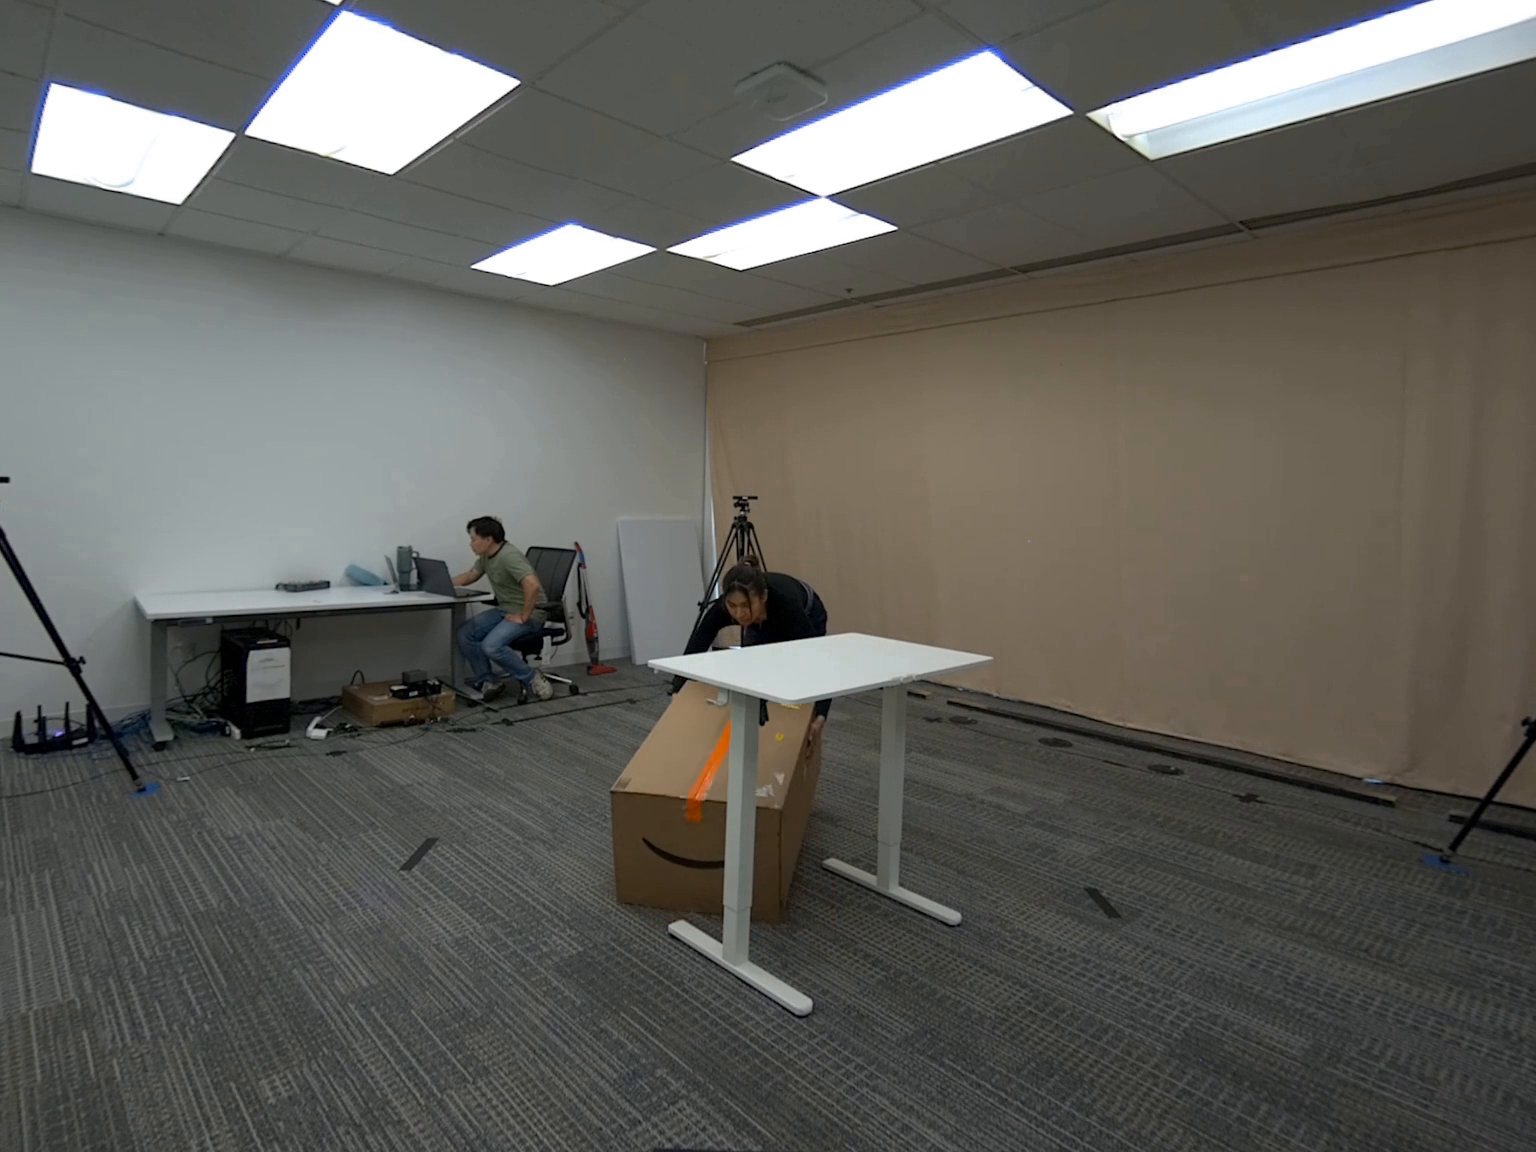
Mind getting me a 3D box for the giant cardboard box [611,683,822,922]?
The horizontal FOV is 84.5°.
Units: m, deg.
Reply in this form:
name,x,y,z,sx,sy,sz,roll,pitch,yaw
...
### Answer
name,x,y,z,sx,sy,sz,roll,pitch,yaw
giant cardboard box,-0.154,0.778,3.235,0.583,0.421,1.028,3,16,10
